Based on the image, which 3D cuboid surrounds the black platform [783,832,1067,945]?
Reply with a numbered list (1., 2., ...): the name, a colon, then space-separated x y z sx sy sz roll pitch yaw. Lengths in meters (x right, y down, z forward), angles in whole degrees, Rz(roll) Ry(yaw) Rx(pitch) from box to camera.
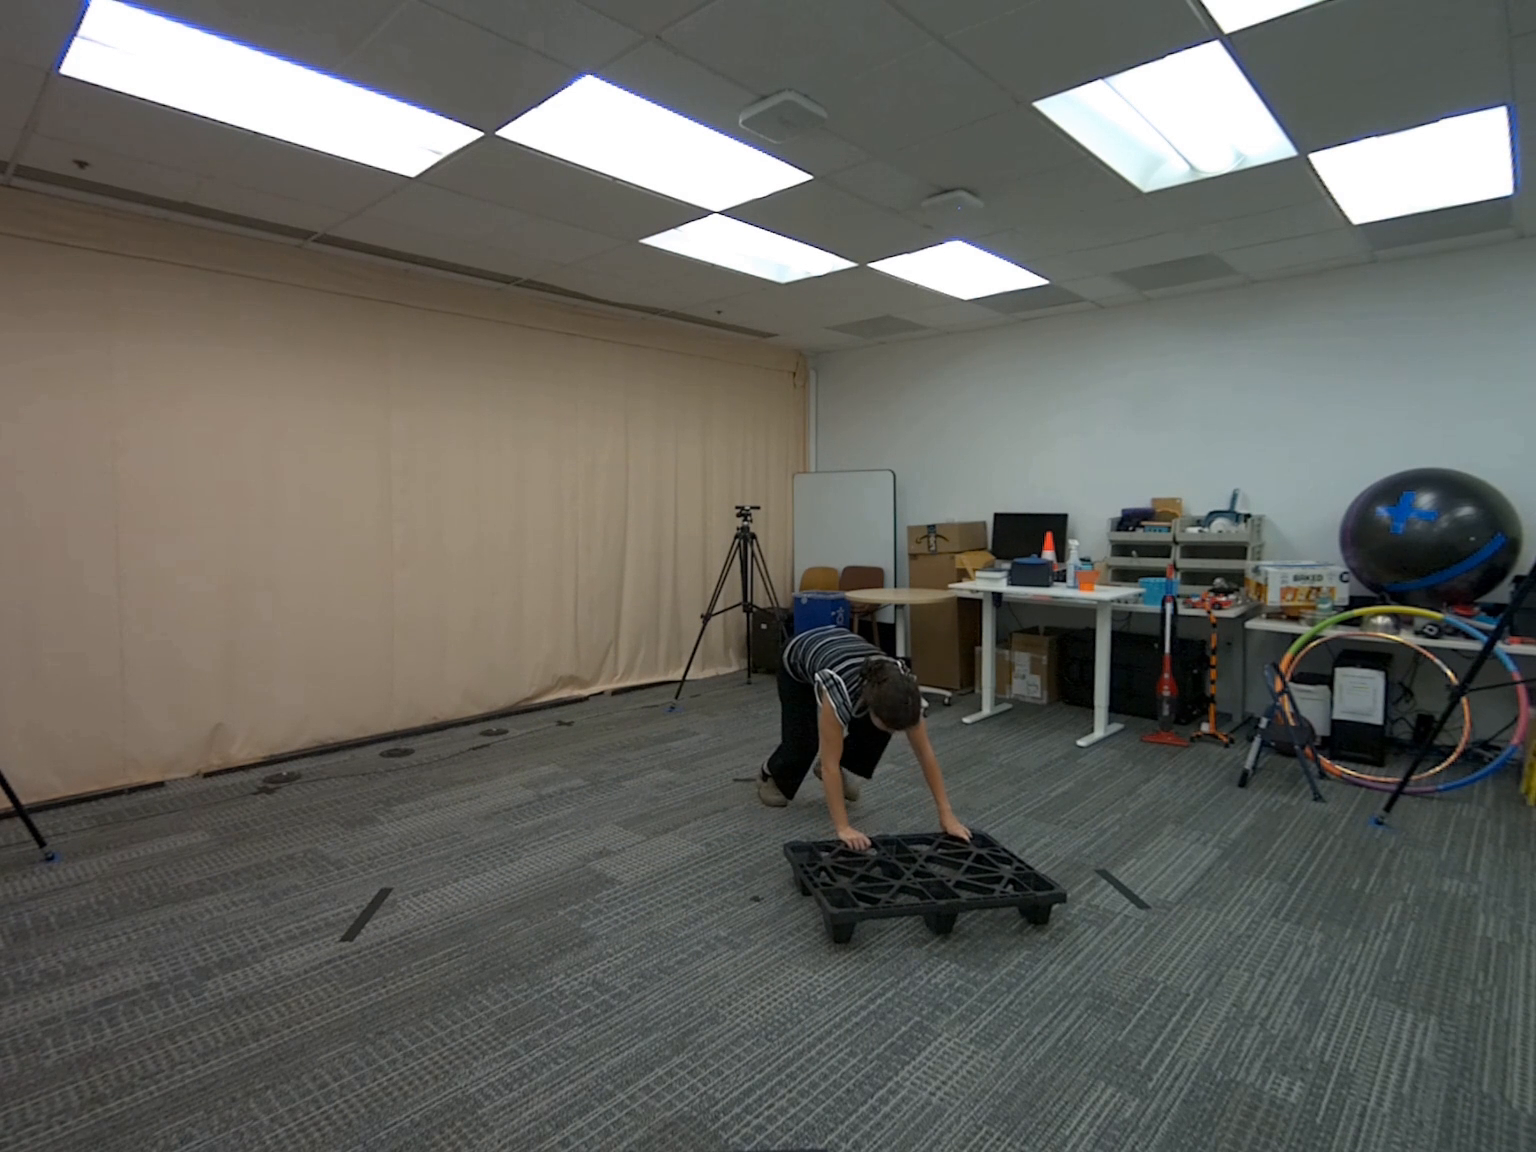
1. black platform: 0.517 1.071 2.931 0.796 0.143 0.613 -1 4 -12
